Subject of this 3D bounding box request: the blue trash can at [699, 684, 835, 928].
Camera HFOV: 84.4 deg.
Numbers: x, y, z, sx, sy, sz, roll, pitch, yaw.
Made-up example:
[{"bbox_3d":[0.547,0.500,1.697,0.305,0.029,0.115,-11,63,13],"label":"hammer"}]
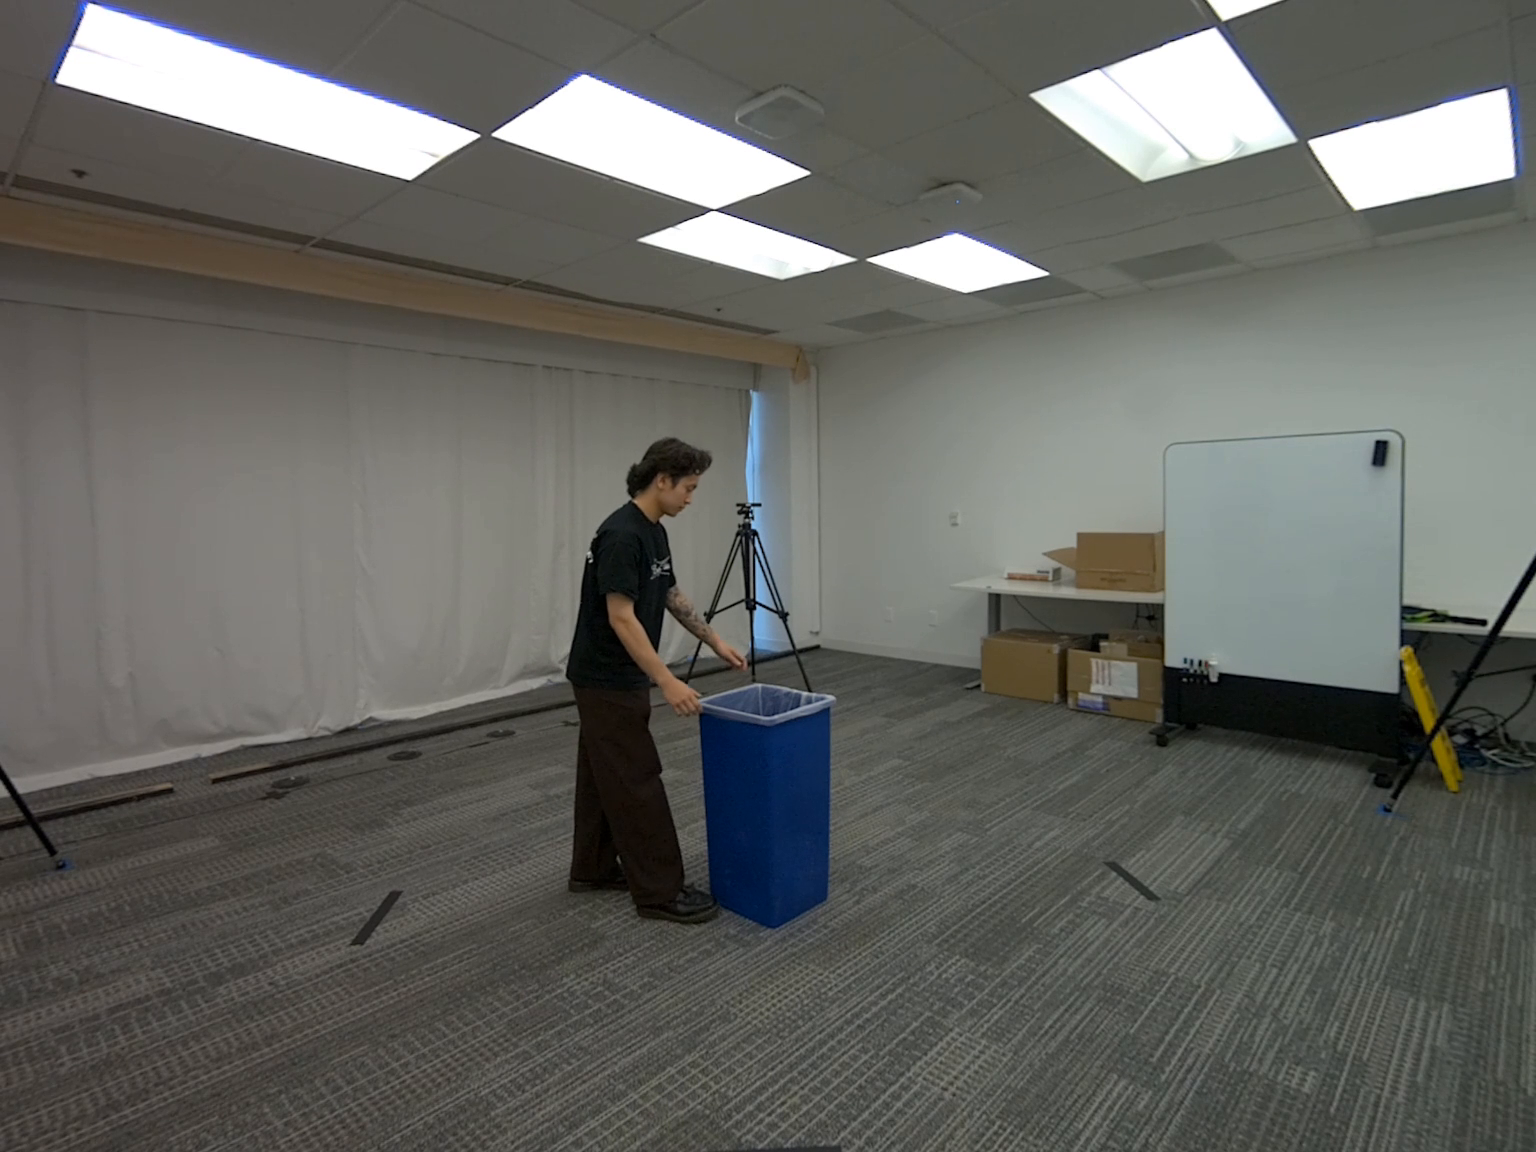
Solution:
[{"bbox_3d":[-0.002,0.783,2.927,0.390,0.712,0.363,2,4,43],"label":"blue trash can"}]
